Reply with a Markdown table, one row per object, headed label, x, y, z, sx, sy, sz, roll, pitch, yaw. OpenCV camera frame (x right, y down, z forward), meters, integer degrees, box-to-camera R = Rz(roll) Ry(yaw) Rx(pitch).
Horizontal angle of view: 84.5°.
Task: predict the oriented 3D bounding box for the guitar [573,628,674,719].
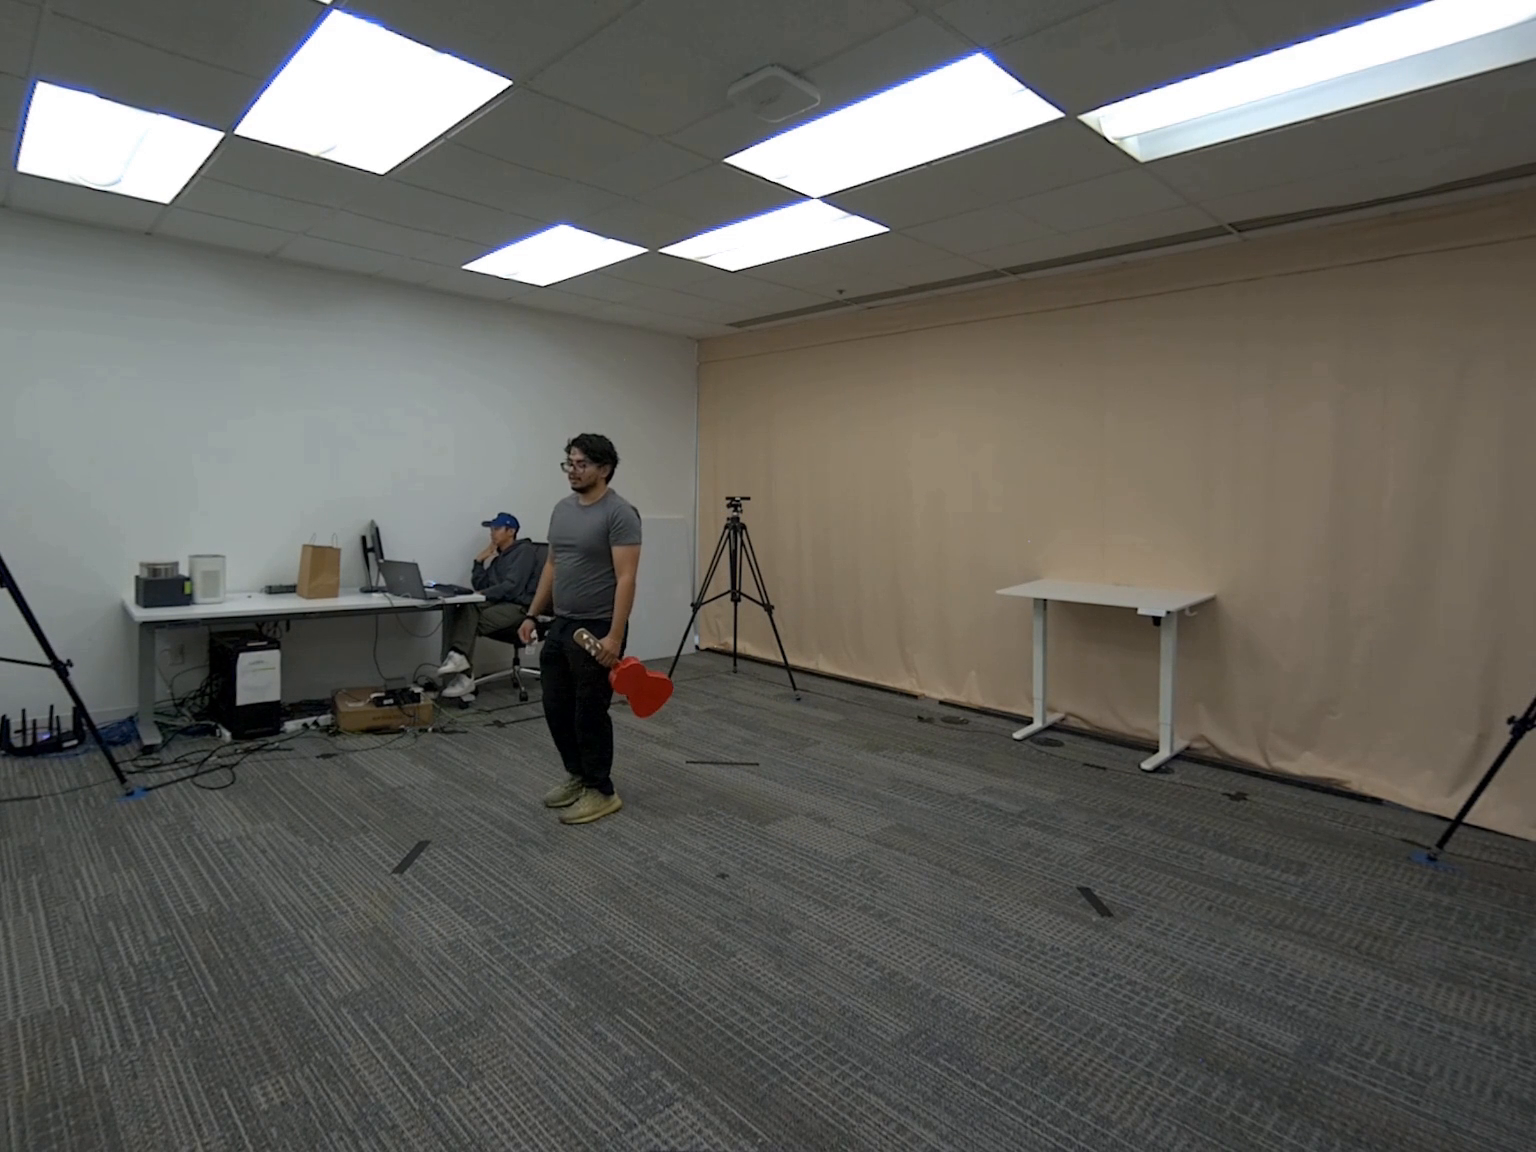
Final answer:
| label | x | y | z | sx | sy | sz | roll | pitch | yaw |
| --- | --- | --- | --- | --- | --- | --- | --- | --- | --- |
| guitar | -0.603 | 0.393 | 3.321 | 0.483 | 0.193 | 0.073 | 36 | 2 | -35 |
